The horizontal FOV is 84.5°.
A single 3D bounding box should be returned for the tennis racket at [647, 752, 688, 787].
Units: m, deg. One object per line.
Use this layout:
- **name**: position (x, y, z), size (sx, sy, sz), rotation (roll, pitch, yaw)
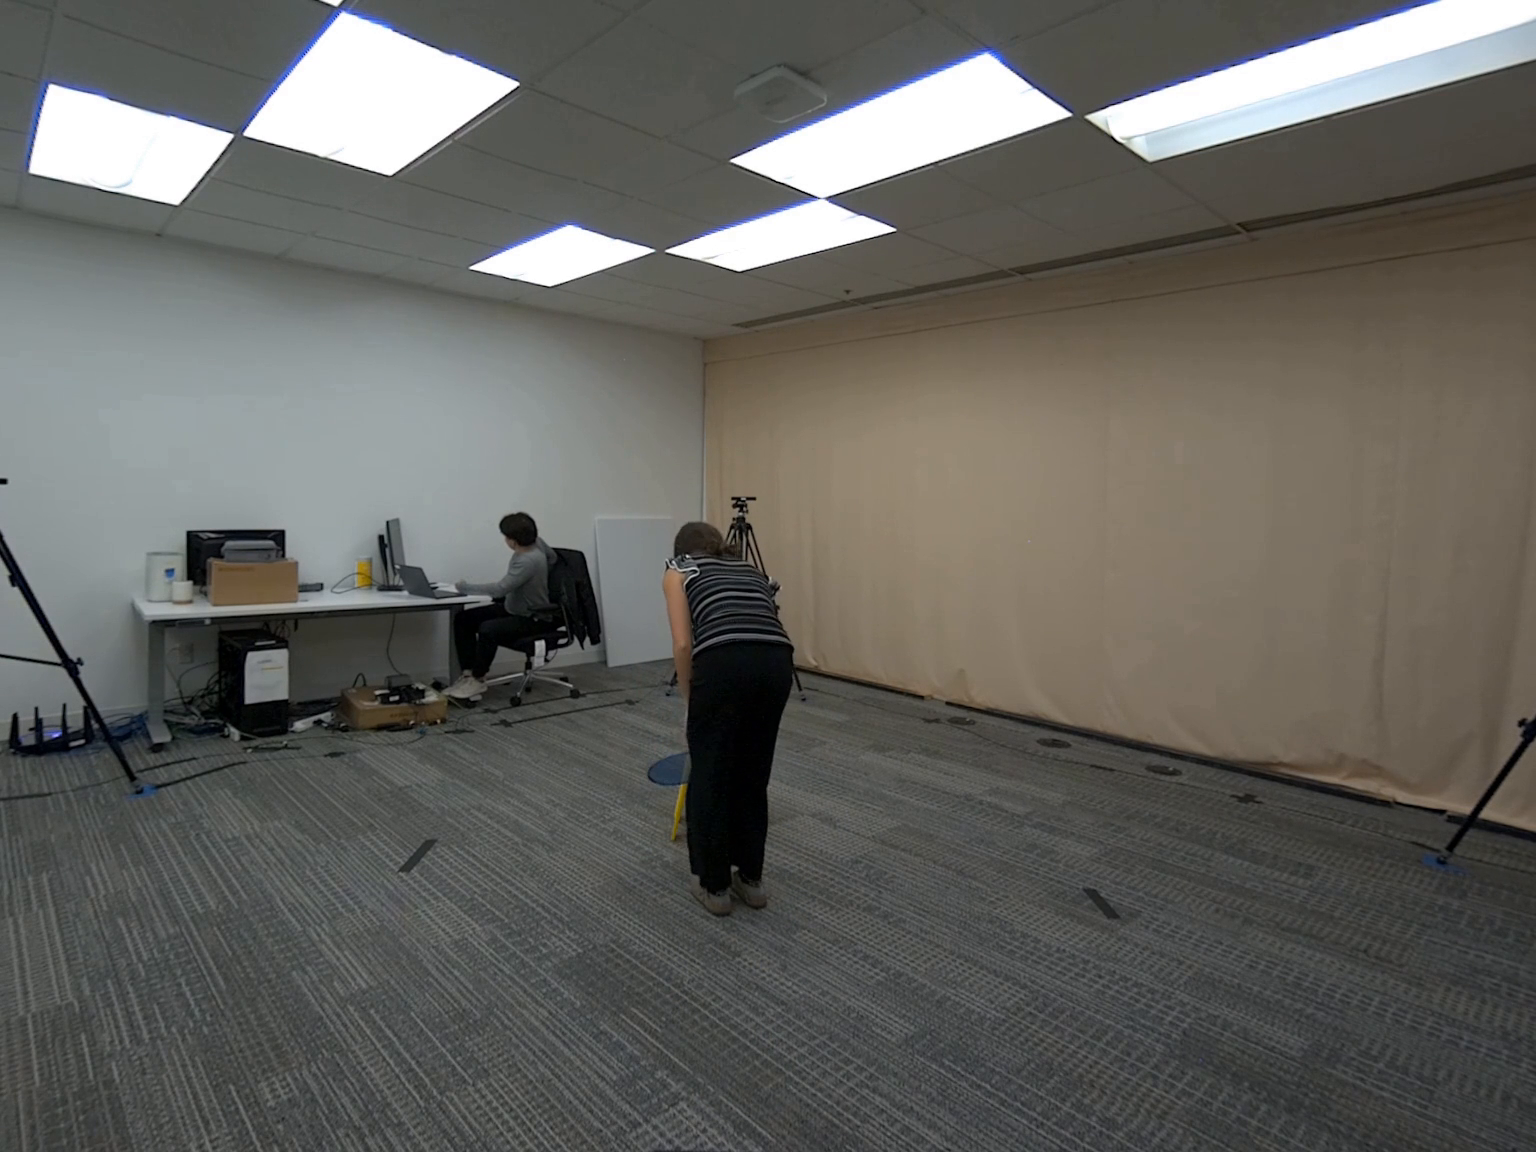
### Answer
- **tennis racket**: position (-0.259, 0.704, 3.153), size (0.435, 0.032, 0.207), rotation (-21, -44, 10)
